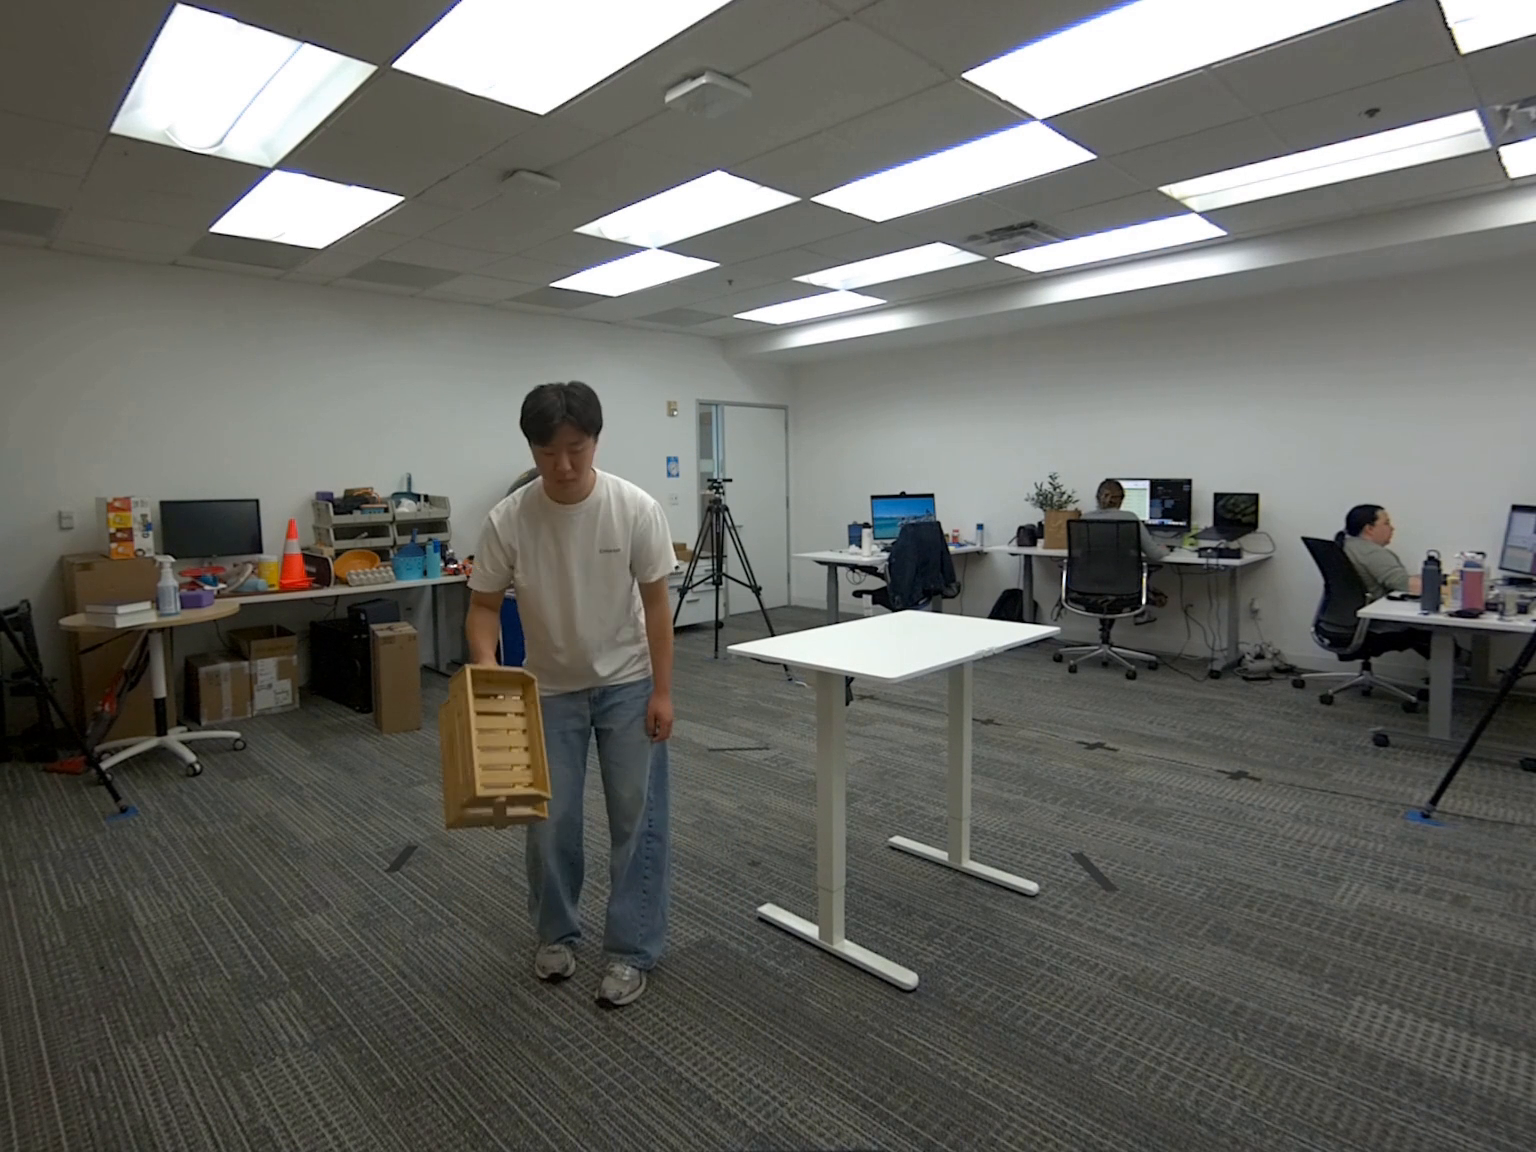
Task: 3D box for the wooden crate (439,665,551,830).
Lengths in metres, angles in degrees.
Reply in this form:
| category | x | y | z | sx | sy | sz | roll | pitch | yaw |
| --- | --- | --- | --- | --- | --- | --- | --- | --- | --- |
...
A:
| category | x | y | z | sx | sy | sz | roll | pitch | yaw |
| --- | --- | --- | --- | --- | --- | --- | --- | --- | --- |
| wooden crate | -0.620 | 0.417 | 2.052 | 0.292 | 0.333 | 0.275 | 10 | -36 | -42 |
